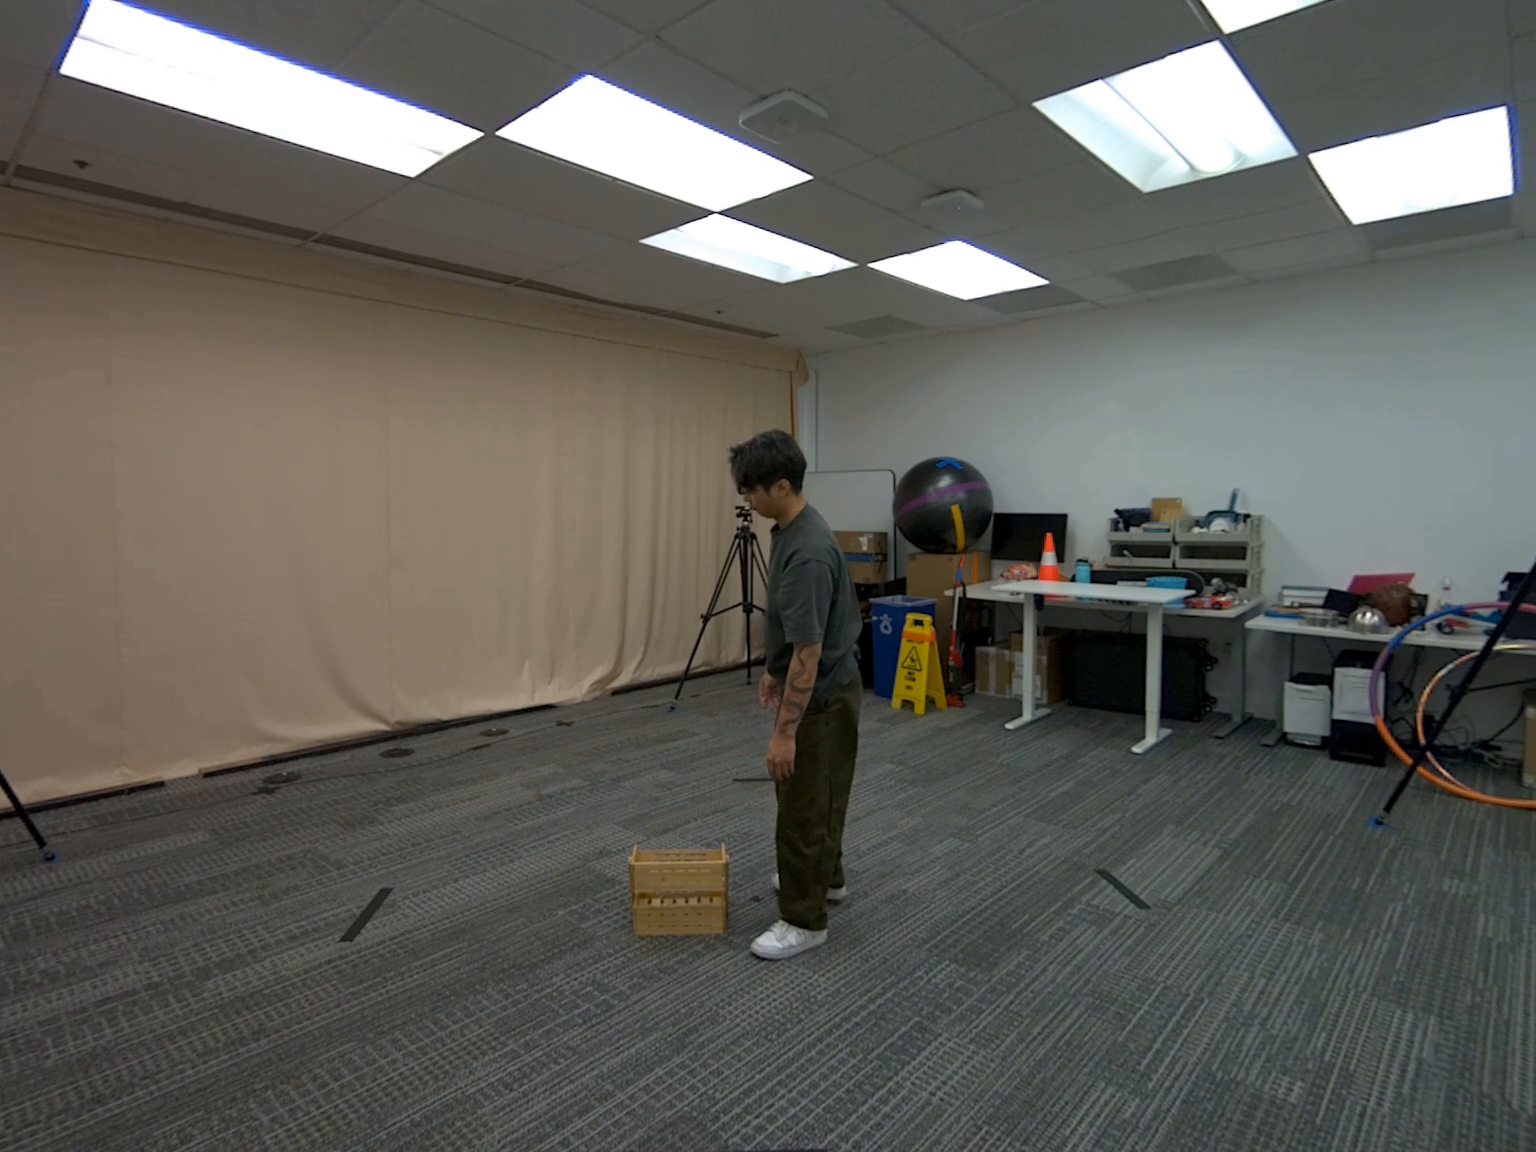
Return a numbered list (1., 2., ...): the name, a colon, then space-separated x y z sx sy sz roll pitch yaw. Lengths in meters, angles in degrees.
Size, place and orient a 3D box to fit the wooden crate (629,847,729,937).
1. wooden crate: -0.299 1.027 2.831 0.323 0.273 0.304 -1 4 -4
